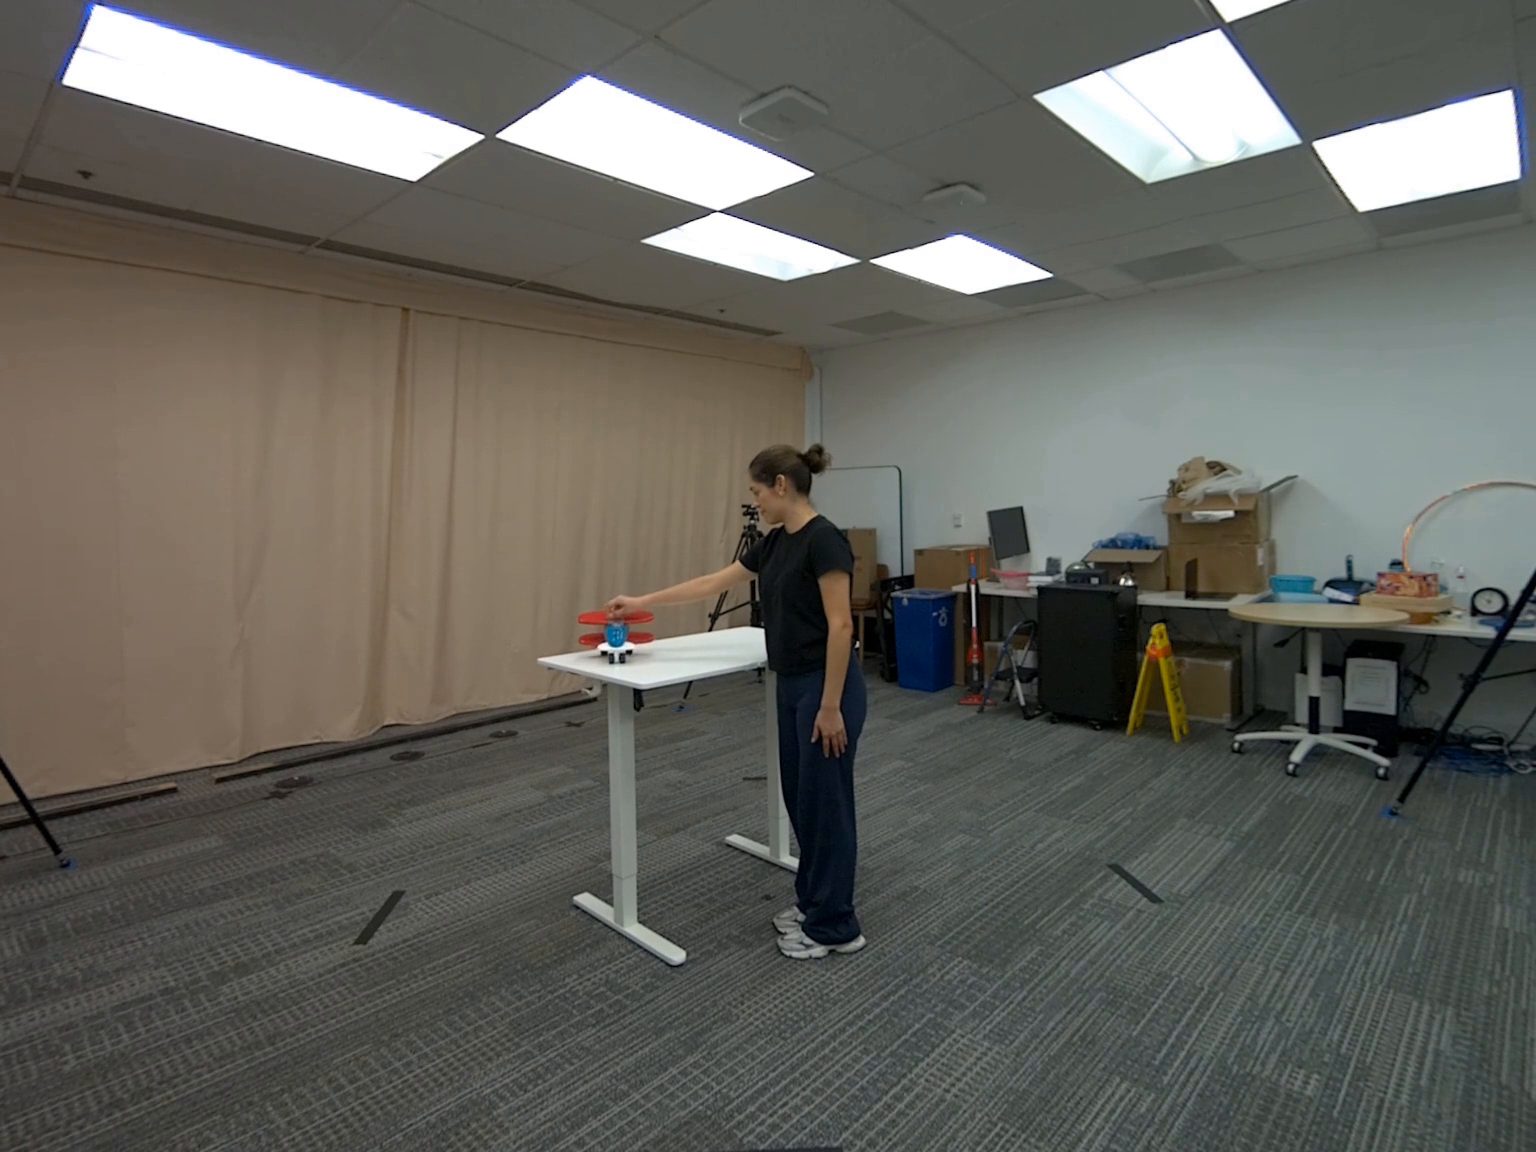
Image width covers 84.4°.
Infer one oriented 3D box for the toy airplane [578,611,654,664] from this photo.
[{"bbox_3d":[-0.473,0.202,2.839,0.244,0.156,0.267,-5,5,-37],"label":"toy airplane"}]
